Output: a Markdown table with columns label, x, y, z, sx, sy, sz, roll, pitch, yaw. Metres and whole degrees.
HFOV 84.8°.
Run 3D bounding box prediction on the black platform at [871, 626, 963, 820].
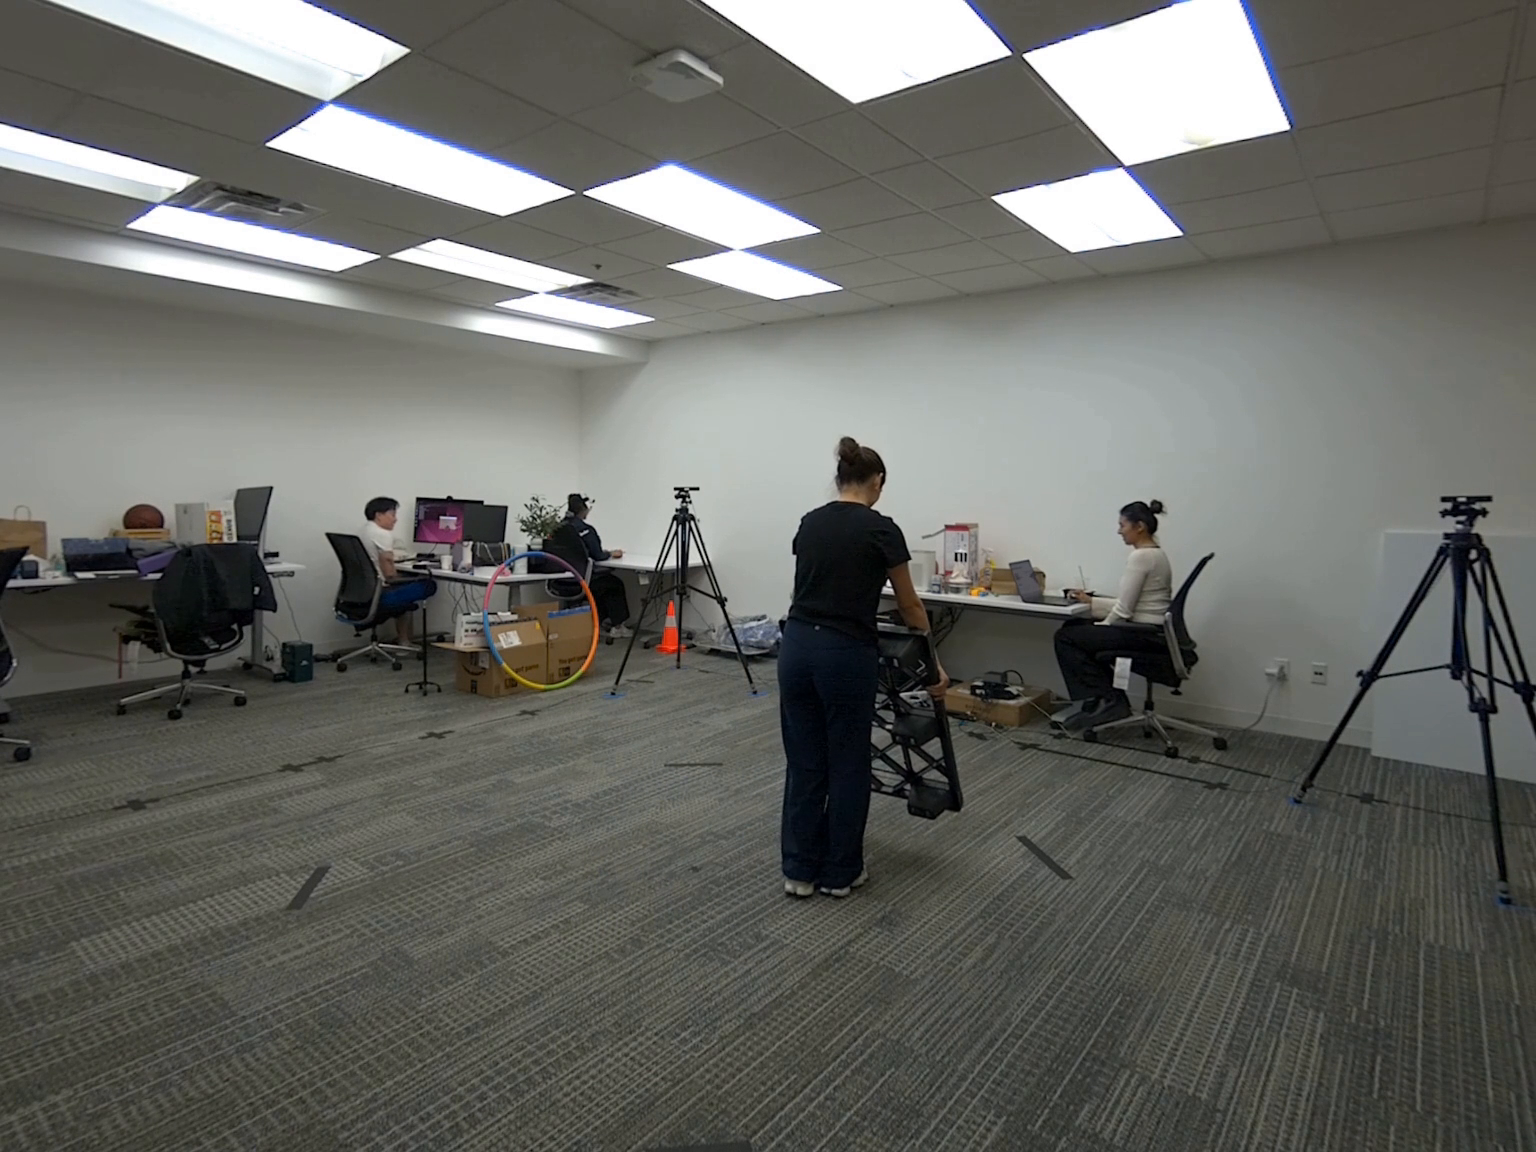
| label | x | y | z | sx | sy | sz | roll | pitch | yaw |
| --- | --- | --- | --- | --- | --- | --- | --- | --- | --- |
| black platform | 0.384 | 0.534 | 3.191 | 0.624 | 0.785 | 0.142 | 2 | 29 | 36 |
